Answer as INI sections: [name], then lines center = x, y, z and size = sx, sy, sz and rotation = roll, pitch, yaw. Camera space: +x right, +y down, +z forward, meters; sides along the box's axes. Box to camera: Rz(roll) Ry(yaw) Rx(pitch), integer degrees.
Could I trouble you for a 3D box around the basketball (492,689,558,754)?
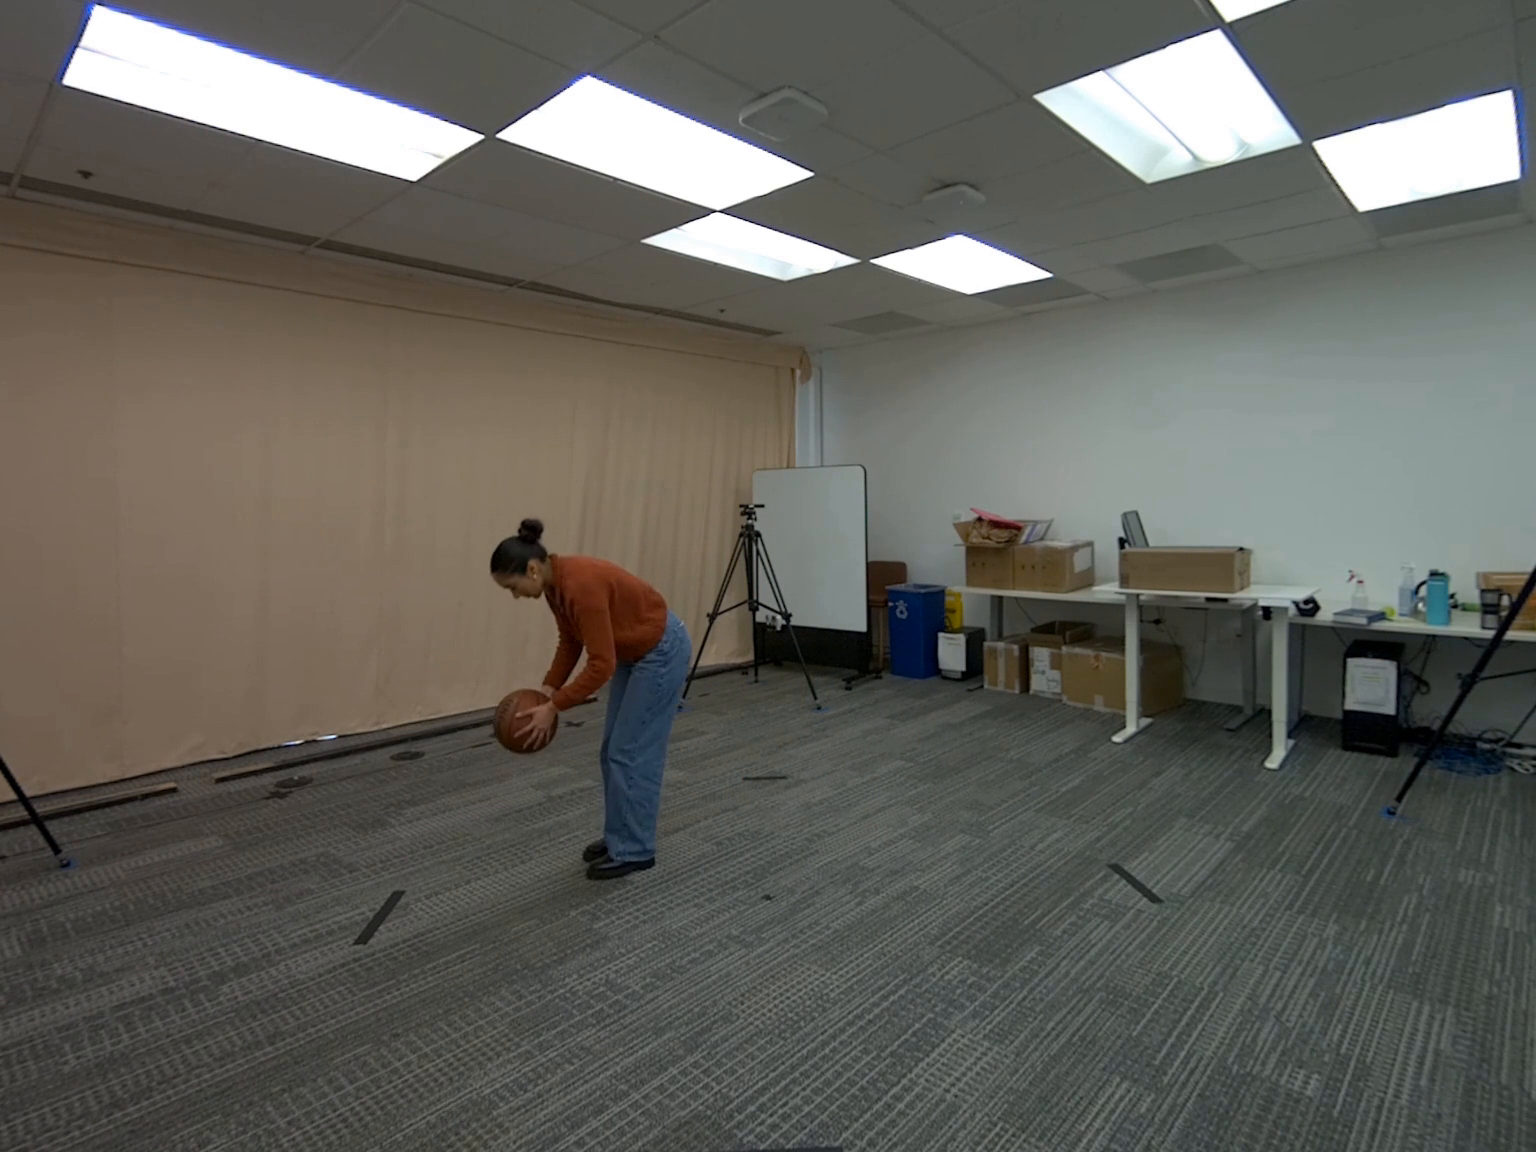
[basketball]
center = -0.888, 0.535, 3.093
size = 0.236, 0.235, 0.237
rotation = -1, 4, -2
